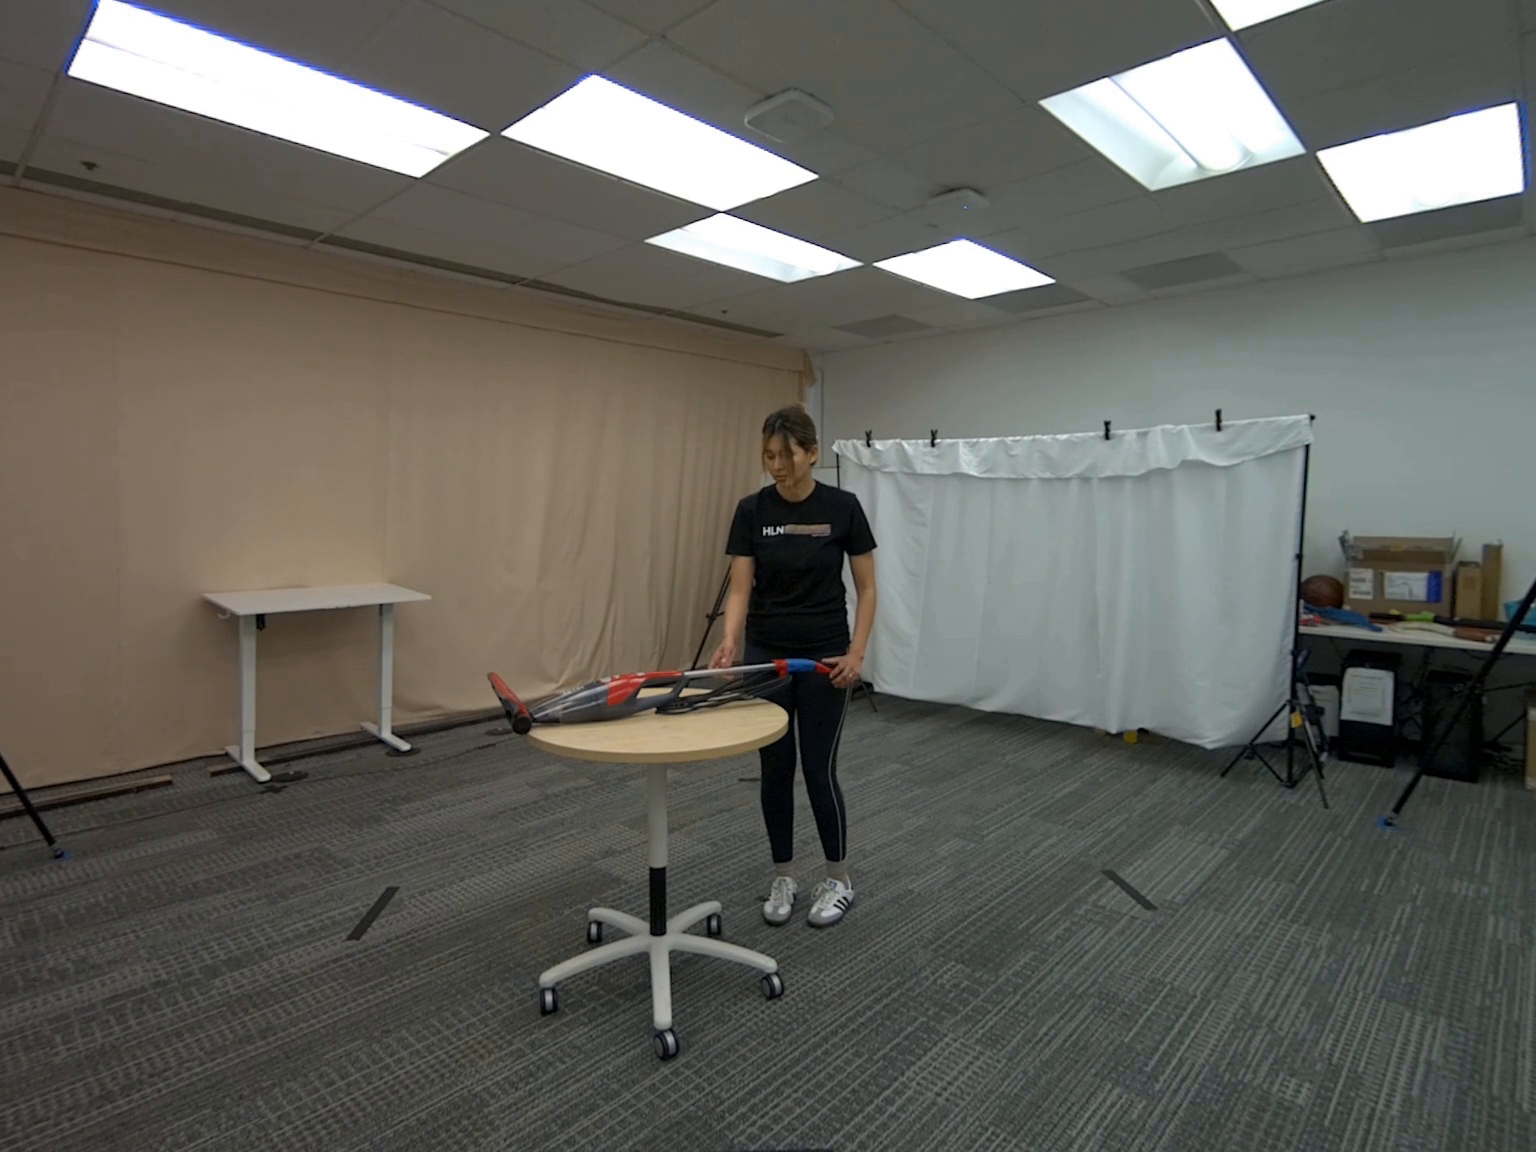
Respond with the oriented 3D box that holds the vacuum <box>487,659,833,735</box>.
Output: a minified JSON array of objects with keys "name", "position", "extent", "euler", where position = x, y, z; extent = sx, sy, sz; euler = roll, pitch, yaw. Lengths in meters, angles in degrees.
[{"name":"vacuum","position":[-0.257,0.354,2.487],"extent":[1.026,0.143,0.259],"euler":[-1,8,-23]}]
